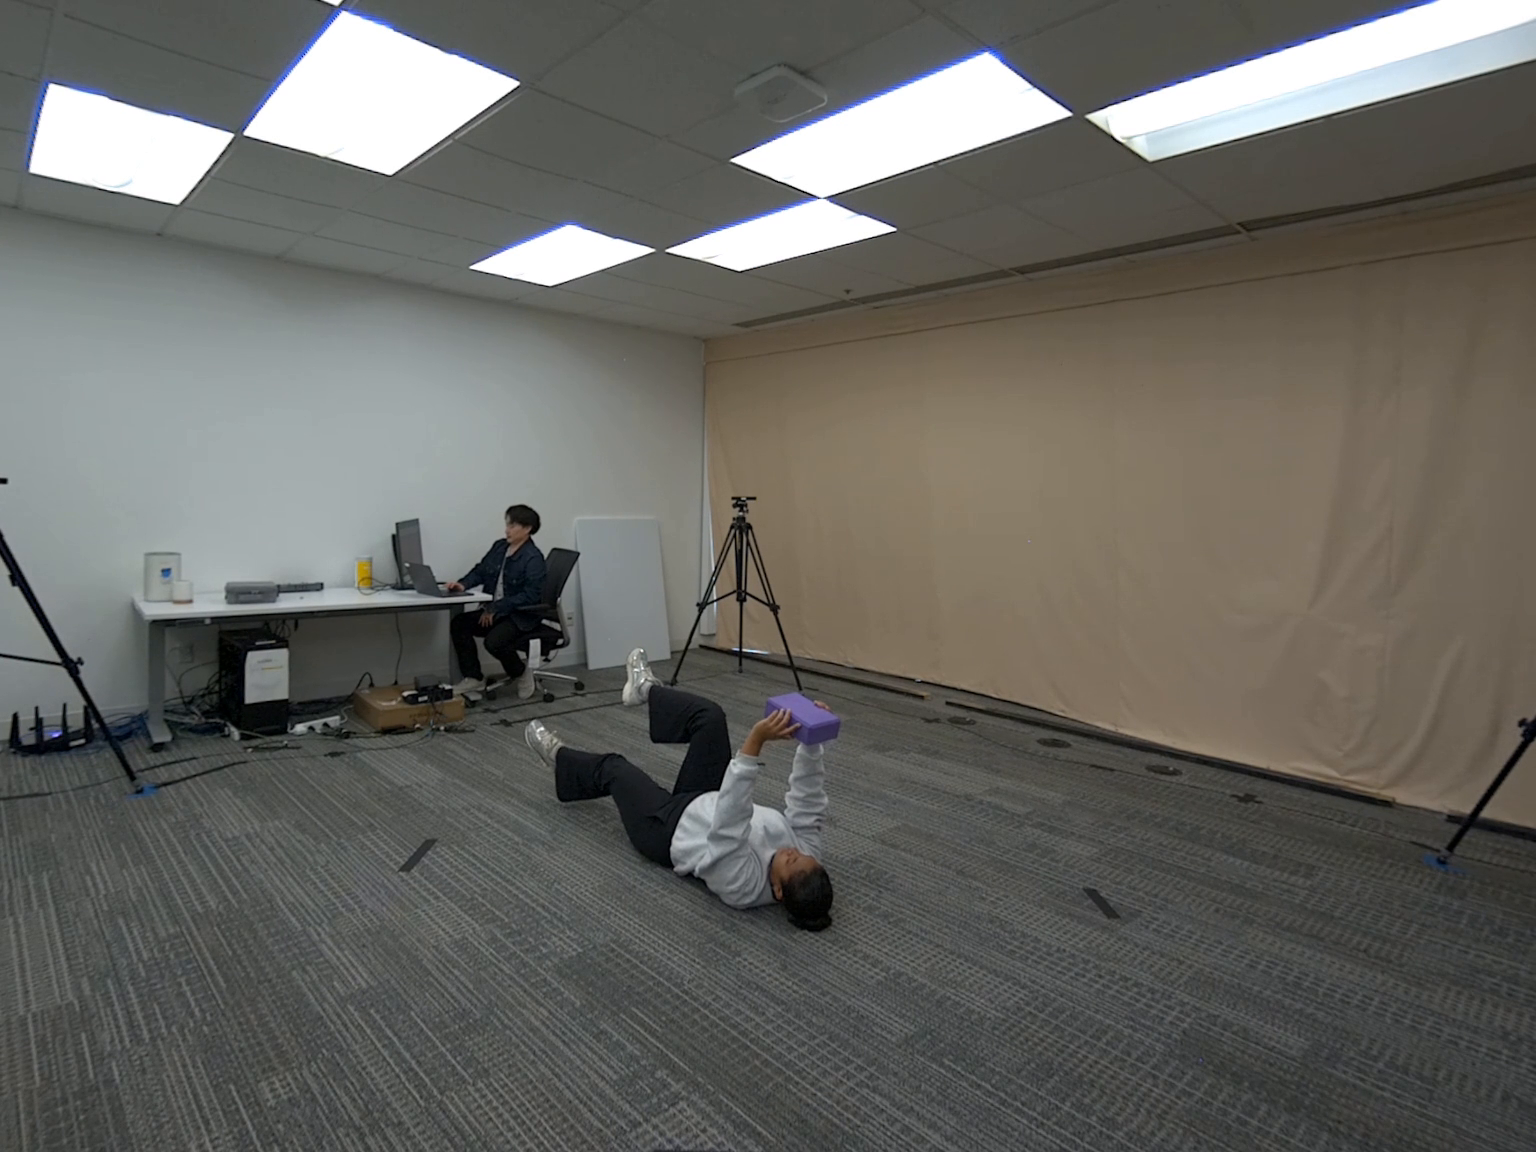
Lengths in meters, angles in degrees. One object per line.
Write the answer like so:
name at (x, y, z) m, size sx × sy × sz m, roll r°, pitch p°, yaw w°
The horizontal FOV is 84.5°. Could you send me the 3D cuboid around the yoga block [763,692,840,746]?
yoga block at (0.115, 0.485, 2.851) m, size 0.146 × 0.076 × 0.236 m, roll -7°, pitch 21°, yaw -42°
